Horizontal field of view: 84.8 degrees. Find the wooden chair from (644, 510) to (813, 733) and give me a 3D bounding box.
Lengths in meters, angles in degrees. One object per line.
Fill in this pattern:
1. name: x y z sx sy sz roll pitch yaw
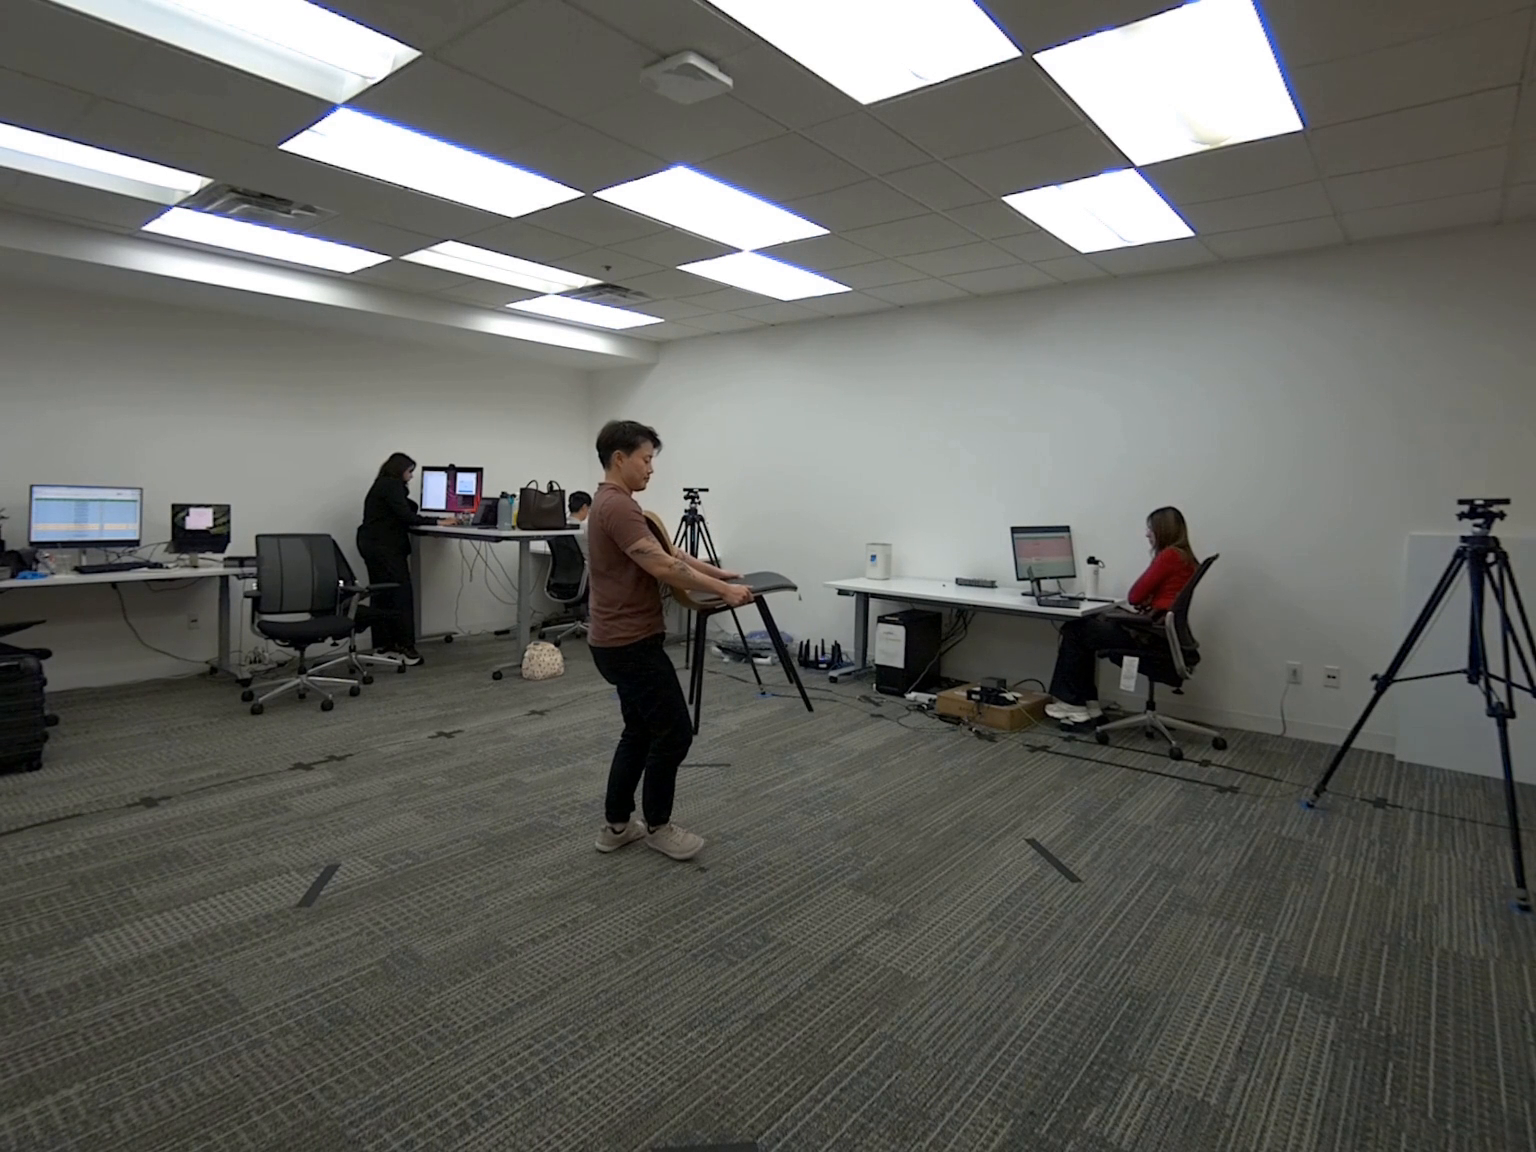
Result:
1. wooden chair: -0.152 0.104 3.326 0.521 0.872 0.483 -14 6 -5
